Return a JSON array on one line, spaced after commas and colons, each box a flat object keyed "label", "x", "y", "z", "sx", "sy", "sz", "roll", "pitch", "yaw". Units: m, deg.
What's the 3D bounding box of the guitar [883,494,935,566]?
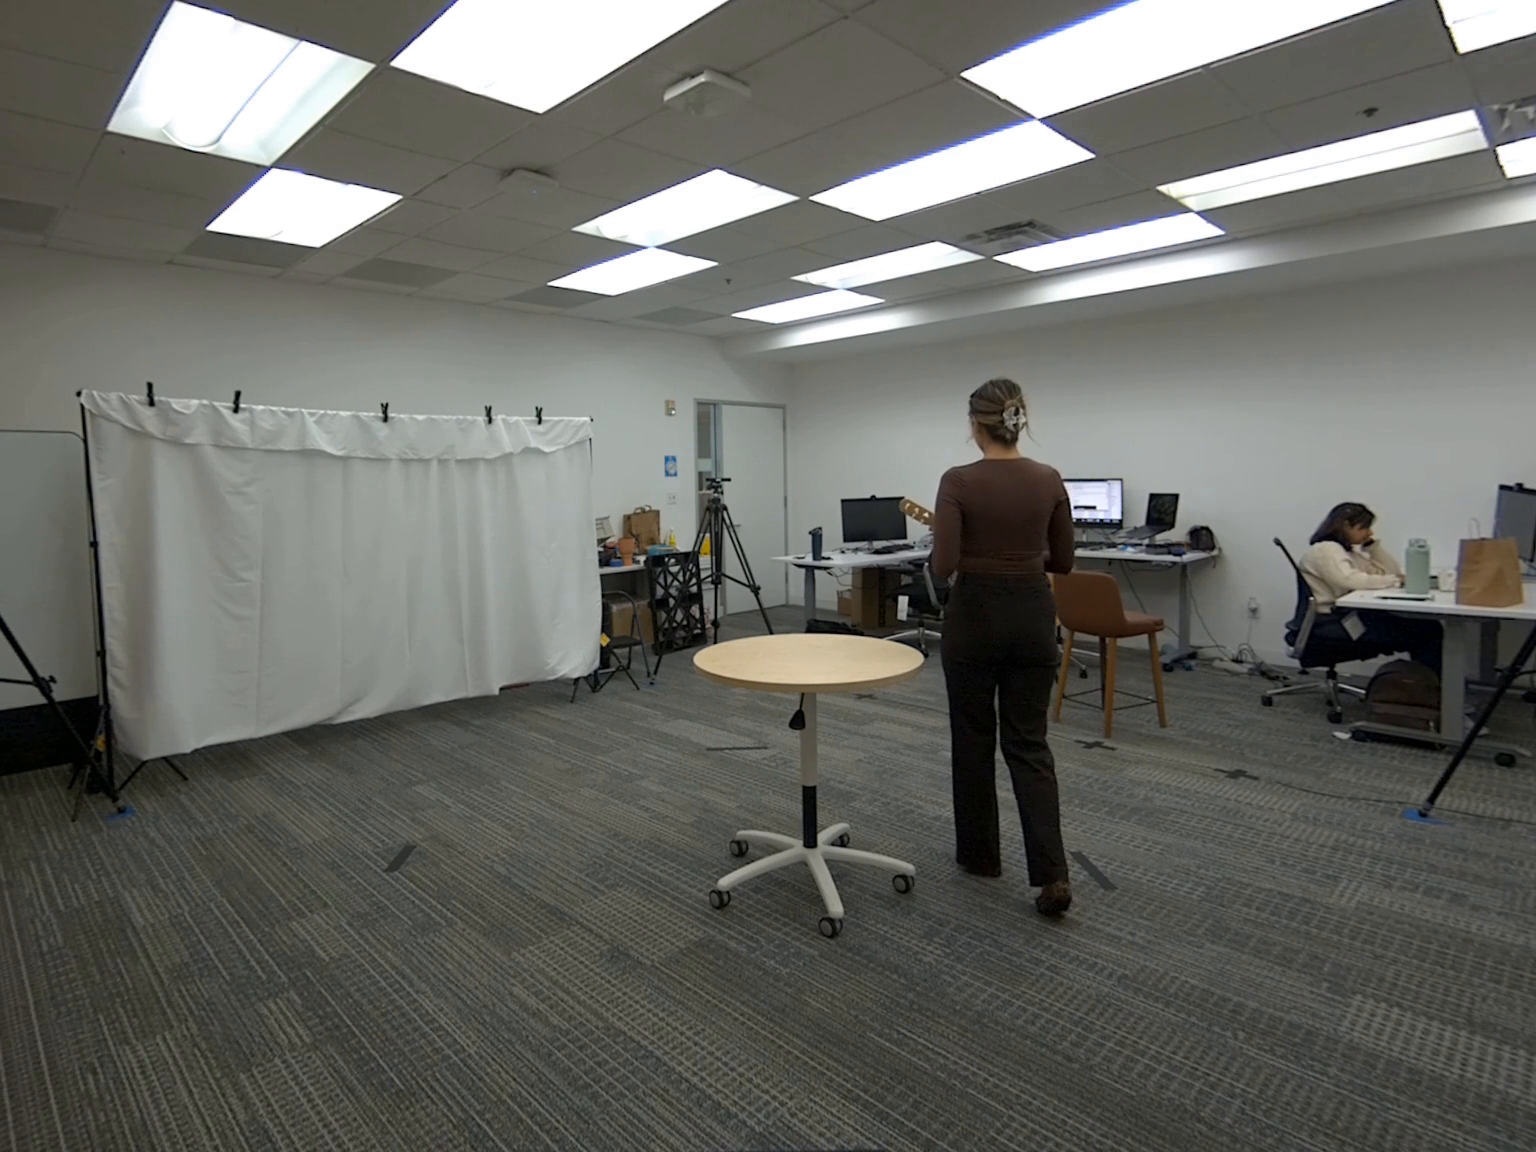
[{"label": "guitar", "x": 0.686, "y": -0.106, "z": 3.067, "sx": 0.506, "sy": 0.190, "sz": 0.070, "roll": 24, "pitch": 29, "yaw": 13}]
